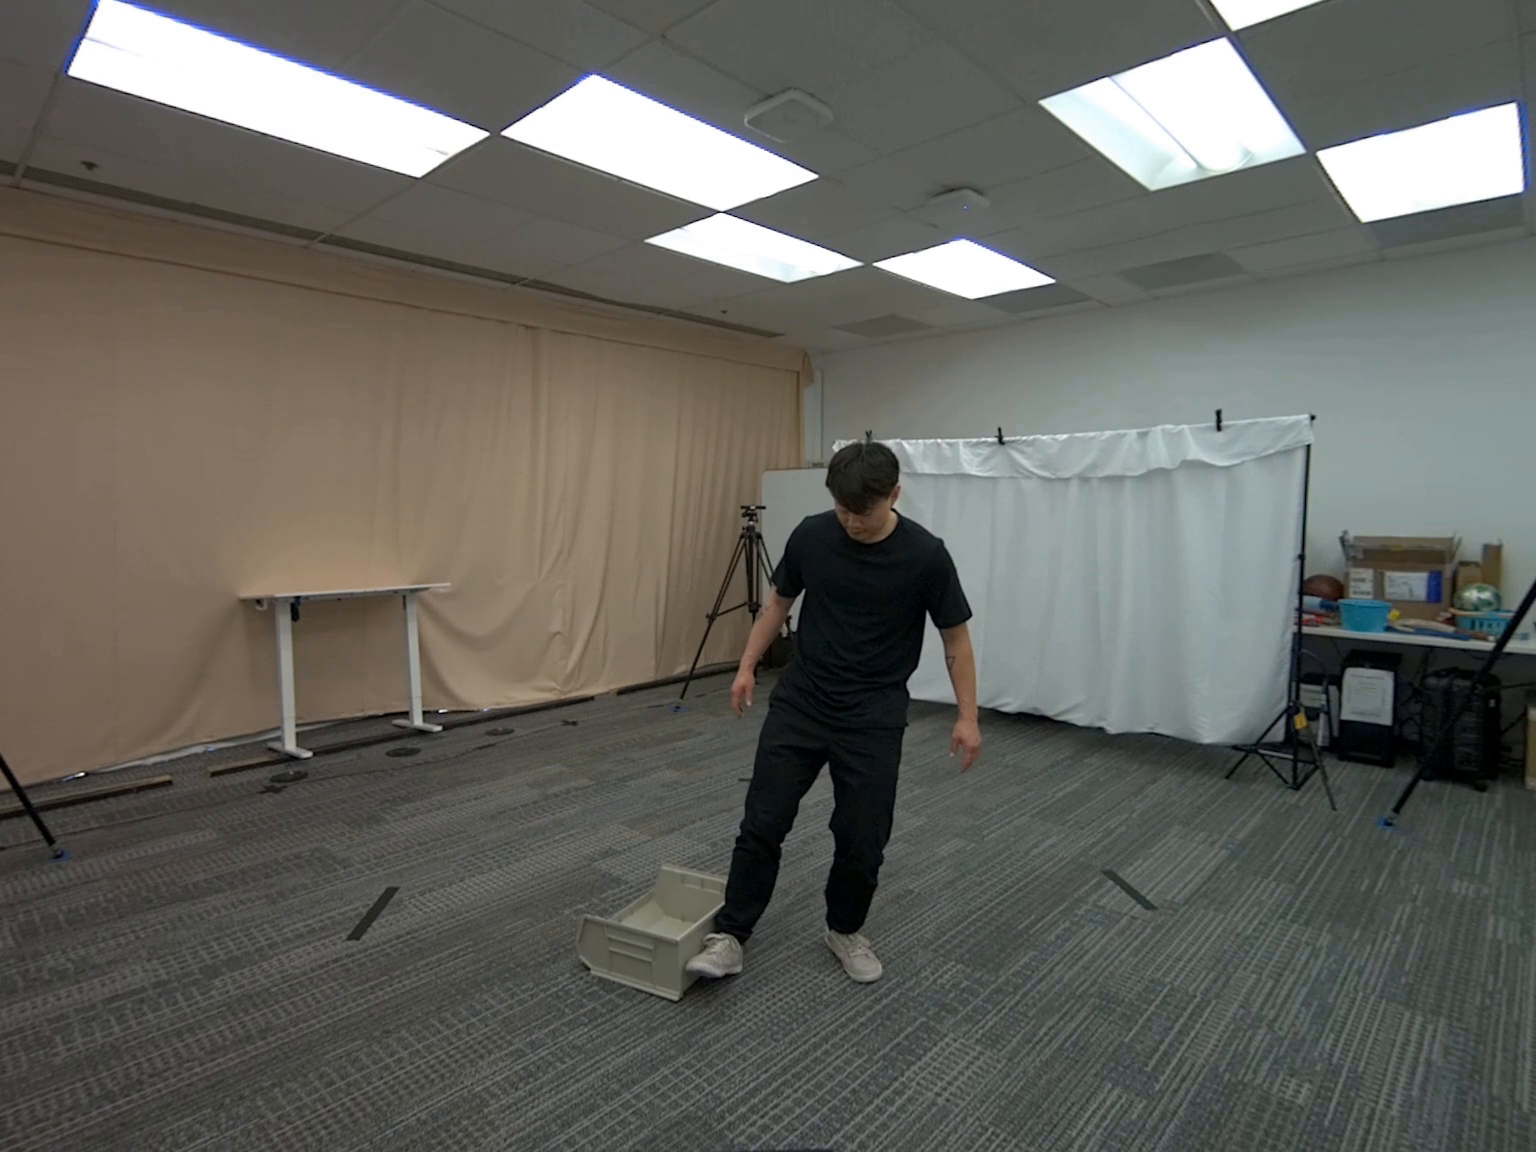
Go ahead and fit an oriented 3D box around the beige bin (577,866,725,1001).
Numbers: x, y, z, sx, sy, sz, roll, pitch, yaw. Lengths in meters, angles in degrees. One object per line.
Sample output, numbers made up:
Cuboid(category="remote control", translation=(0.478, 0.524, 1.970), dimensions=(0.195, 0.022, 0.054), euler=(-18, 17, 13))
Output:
Cuboid(category="beige bin", translation=(-0.313, 1.085, 2.613), dimensions=(0.388, 0.189, 0.411), euler=(2, 4, 28))
